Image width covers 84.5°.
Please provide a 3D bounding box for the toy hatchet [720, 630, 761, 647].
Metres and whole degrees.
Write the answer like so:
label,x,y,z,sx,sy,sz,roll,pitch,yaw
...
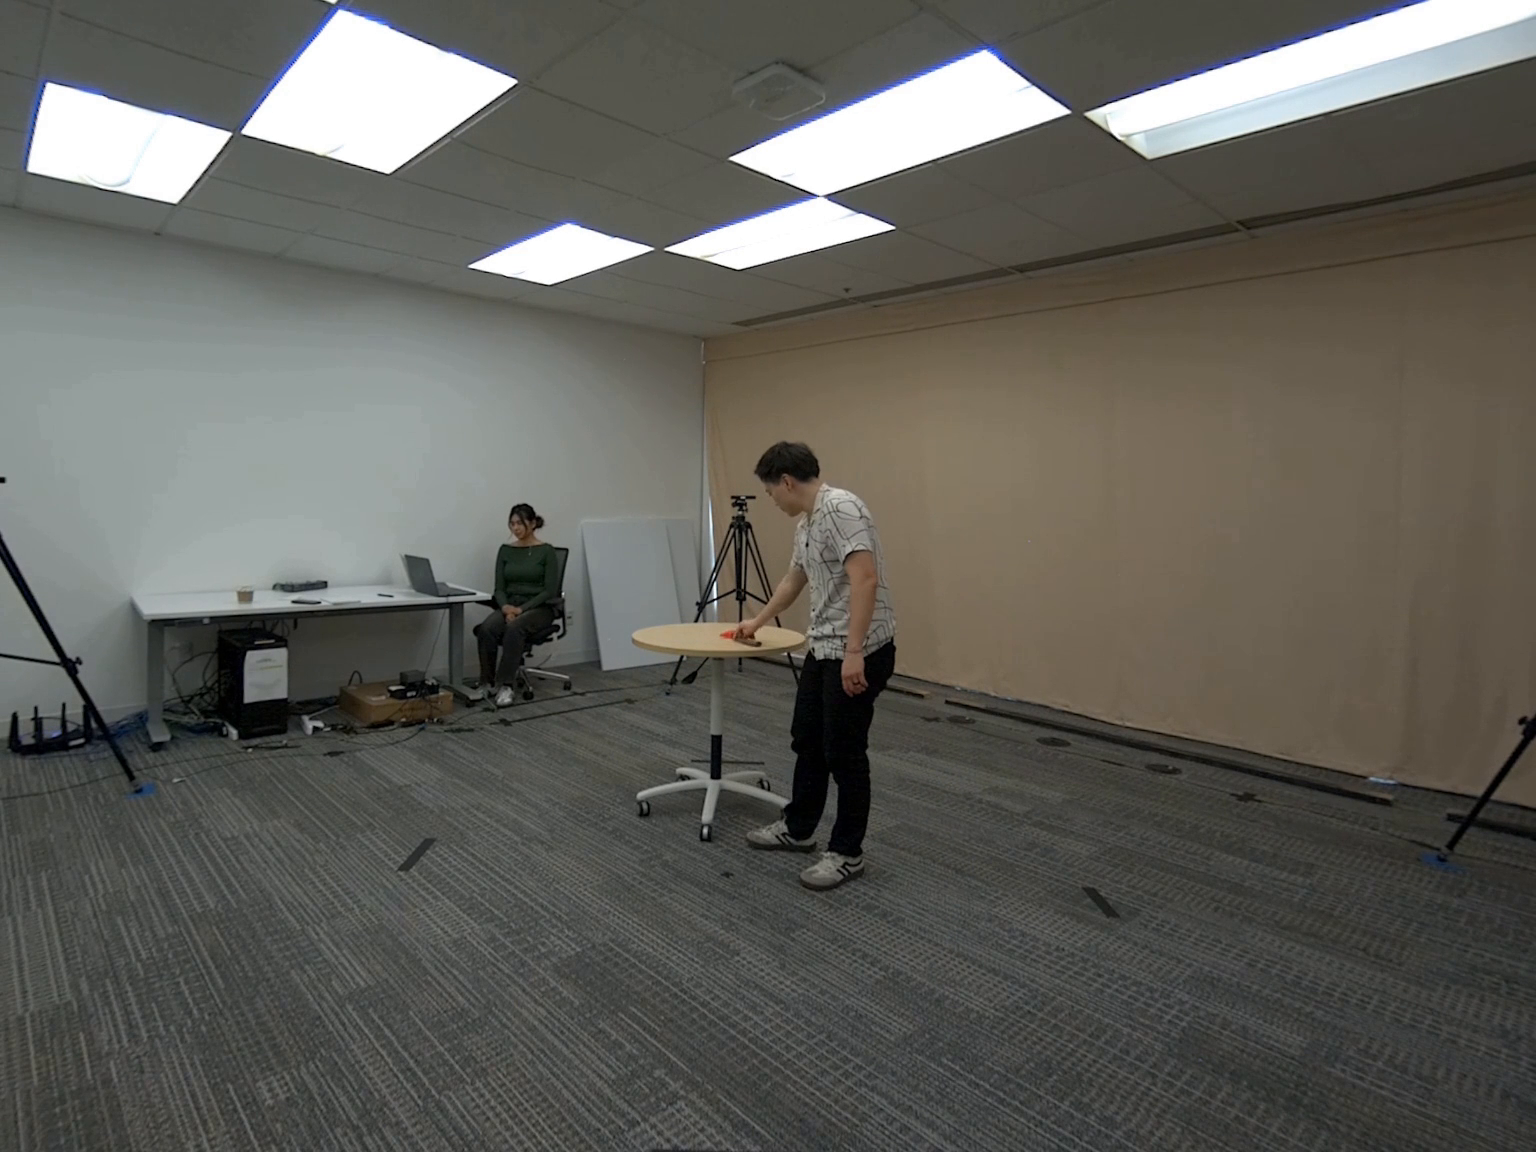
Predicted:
label,x,y,z,sx,sy,sz,roll,pitch,yaw
toy hatchet,-0.095,0.267,3.584,0.128,0.029,0.277,-5,9,-33
